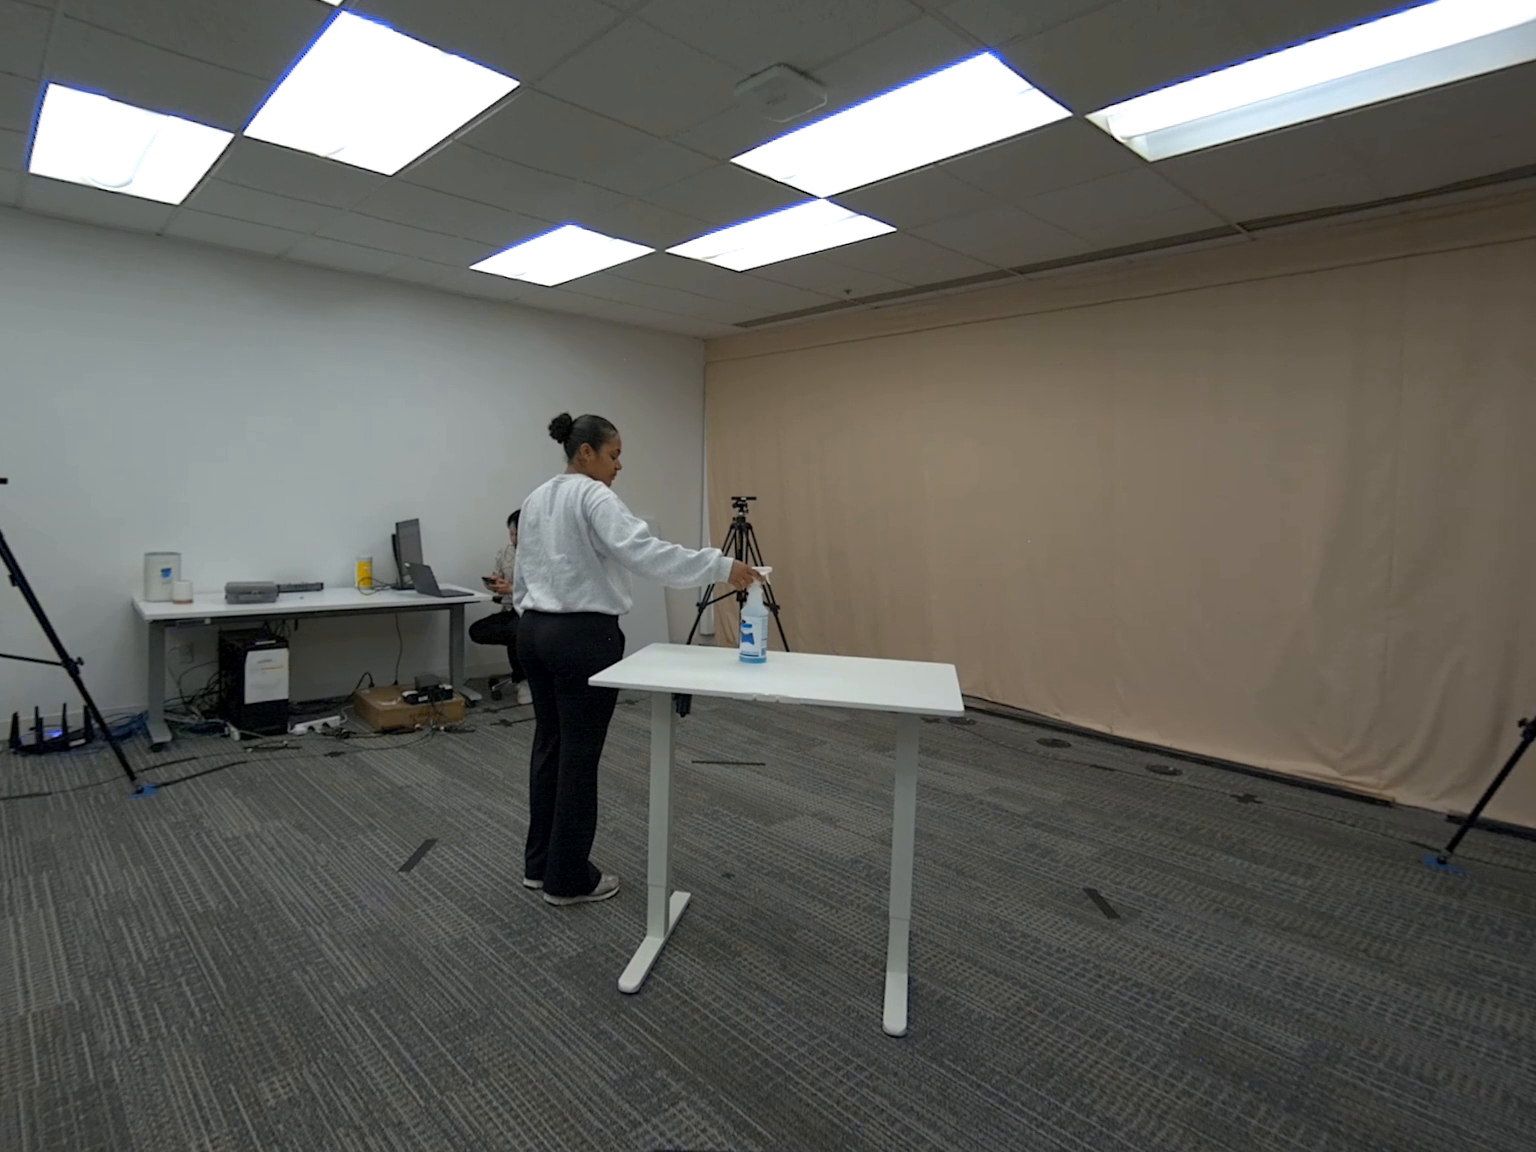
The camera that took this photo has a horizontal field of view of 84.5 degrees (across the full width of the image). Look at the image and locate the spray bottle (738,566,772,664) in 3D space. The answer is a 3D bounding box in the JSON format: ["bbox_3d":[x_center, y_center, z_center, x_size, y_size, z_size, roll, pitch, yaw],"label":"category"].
[{"bbox_3d":[-0.050,0.123,2.627,0.091,0.297,0.086,3,3,9],"label":"spray bottle"}]
